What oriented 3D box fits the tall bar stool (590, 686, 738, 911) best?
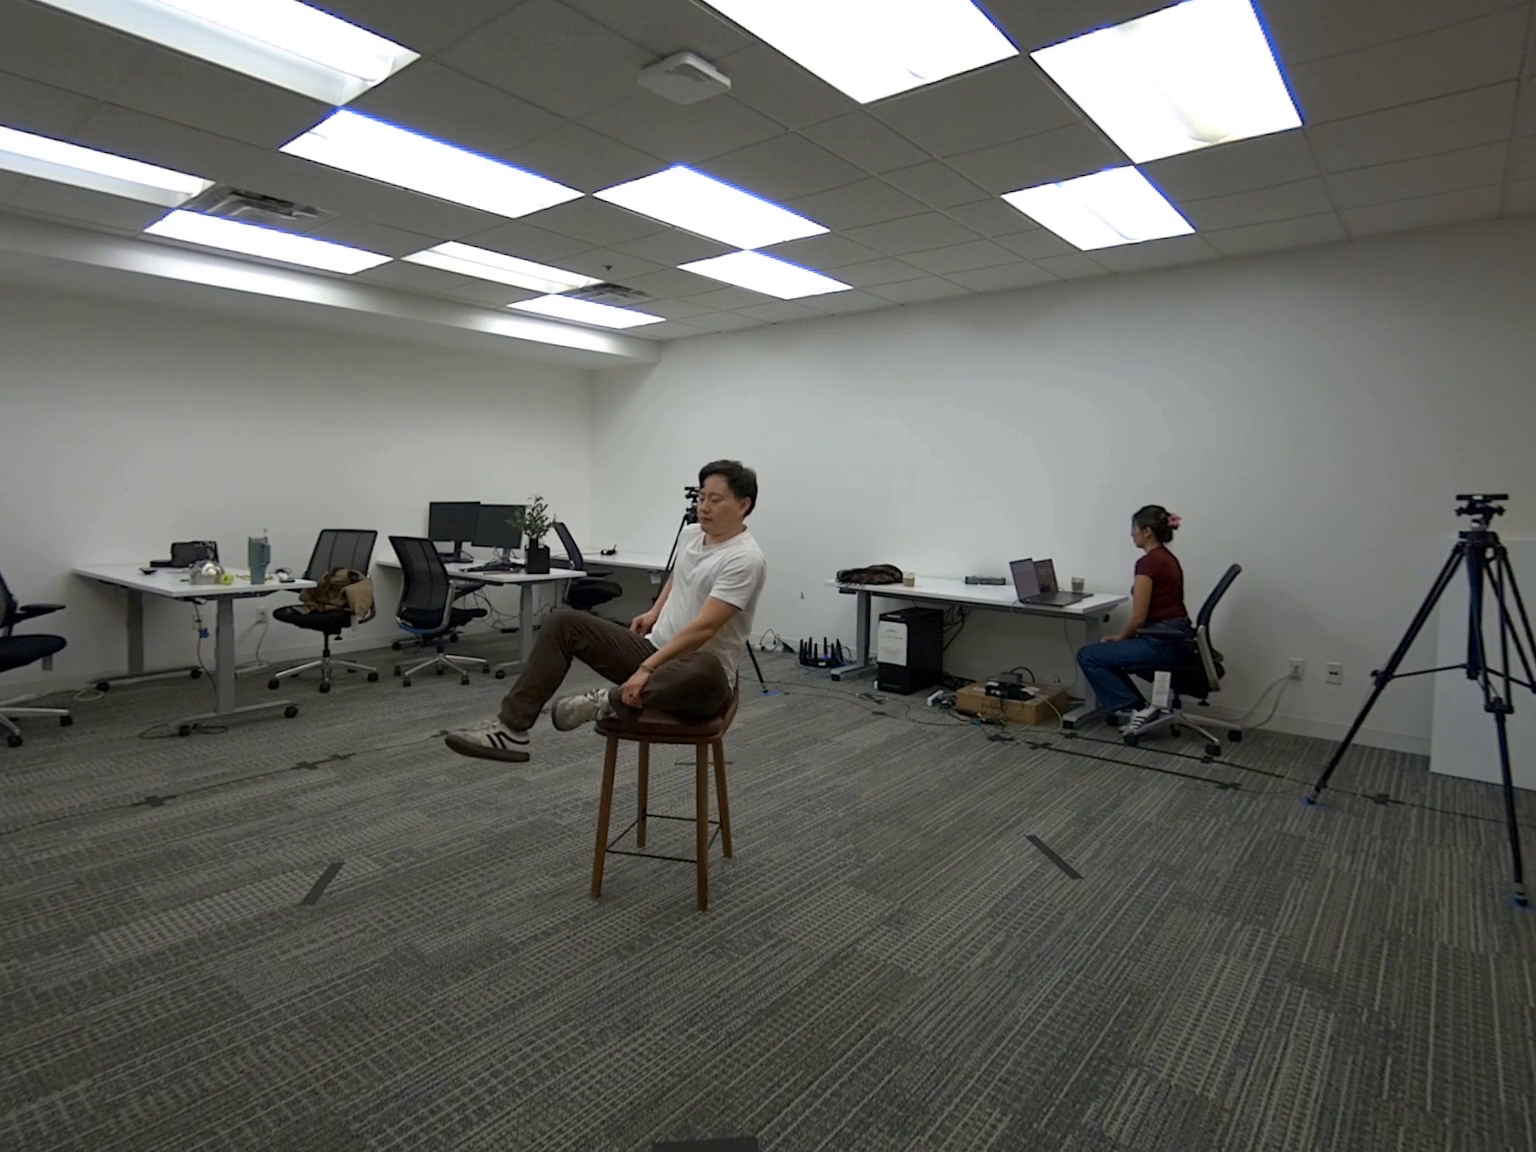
[{"bbox_3d":[-0.363,0.638,3.041,0.464,0.889,0.460,2,1,14],"label":"tall bar stool"}]
